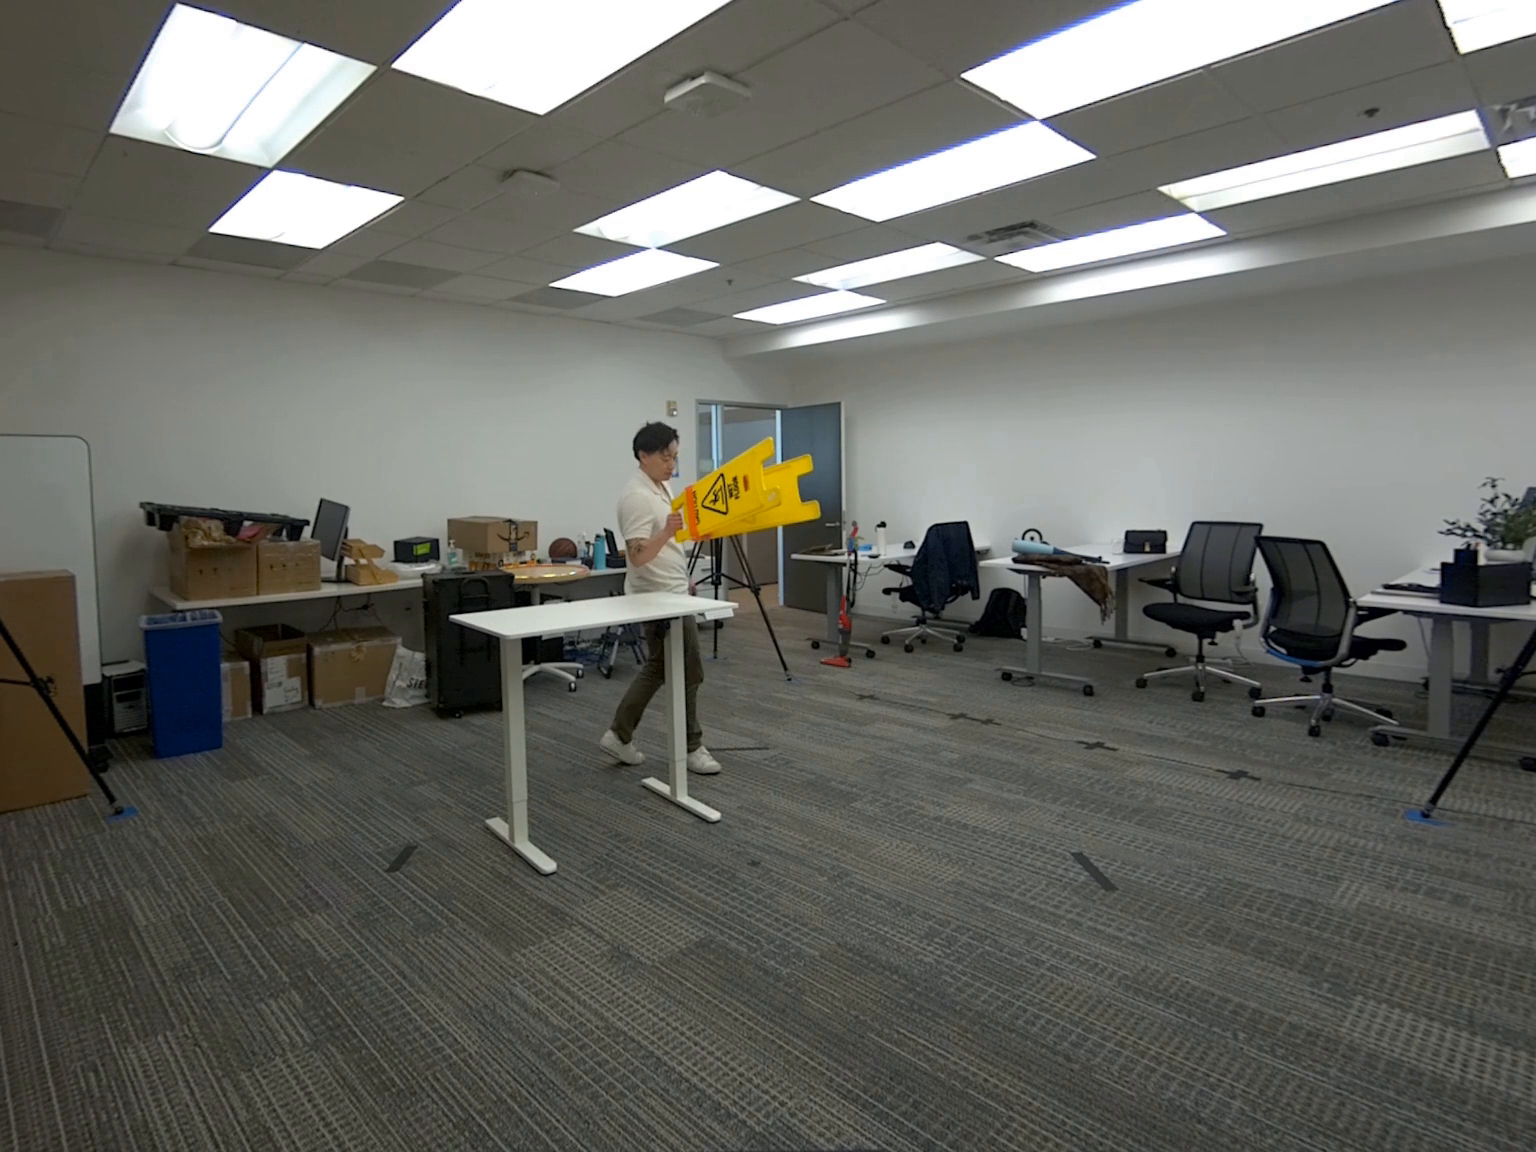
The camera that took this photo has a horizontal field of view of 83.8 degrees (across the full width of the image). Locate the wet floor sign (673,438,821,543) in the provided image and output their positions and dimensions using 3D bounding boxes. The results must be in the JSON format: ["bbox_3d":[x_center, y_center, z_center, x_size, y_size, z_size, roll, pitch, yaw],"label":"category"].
[{"bbox_3d":[-0.159,-0.311,3.546,0.657,0.287,0.280,-17,-19,33],"label":"wet floor sign"}]
